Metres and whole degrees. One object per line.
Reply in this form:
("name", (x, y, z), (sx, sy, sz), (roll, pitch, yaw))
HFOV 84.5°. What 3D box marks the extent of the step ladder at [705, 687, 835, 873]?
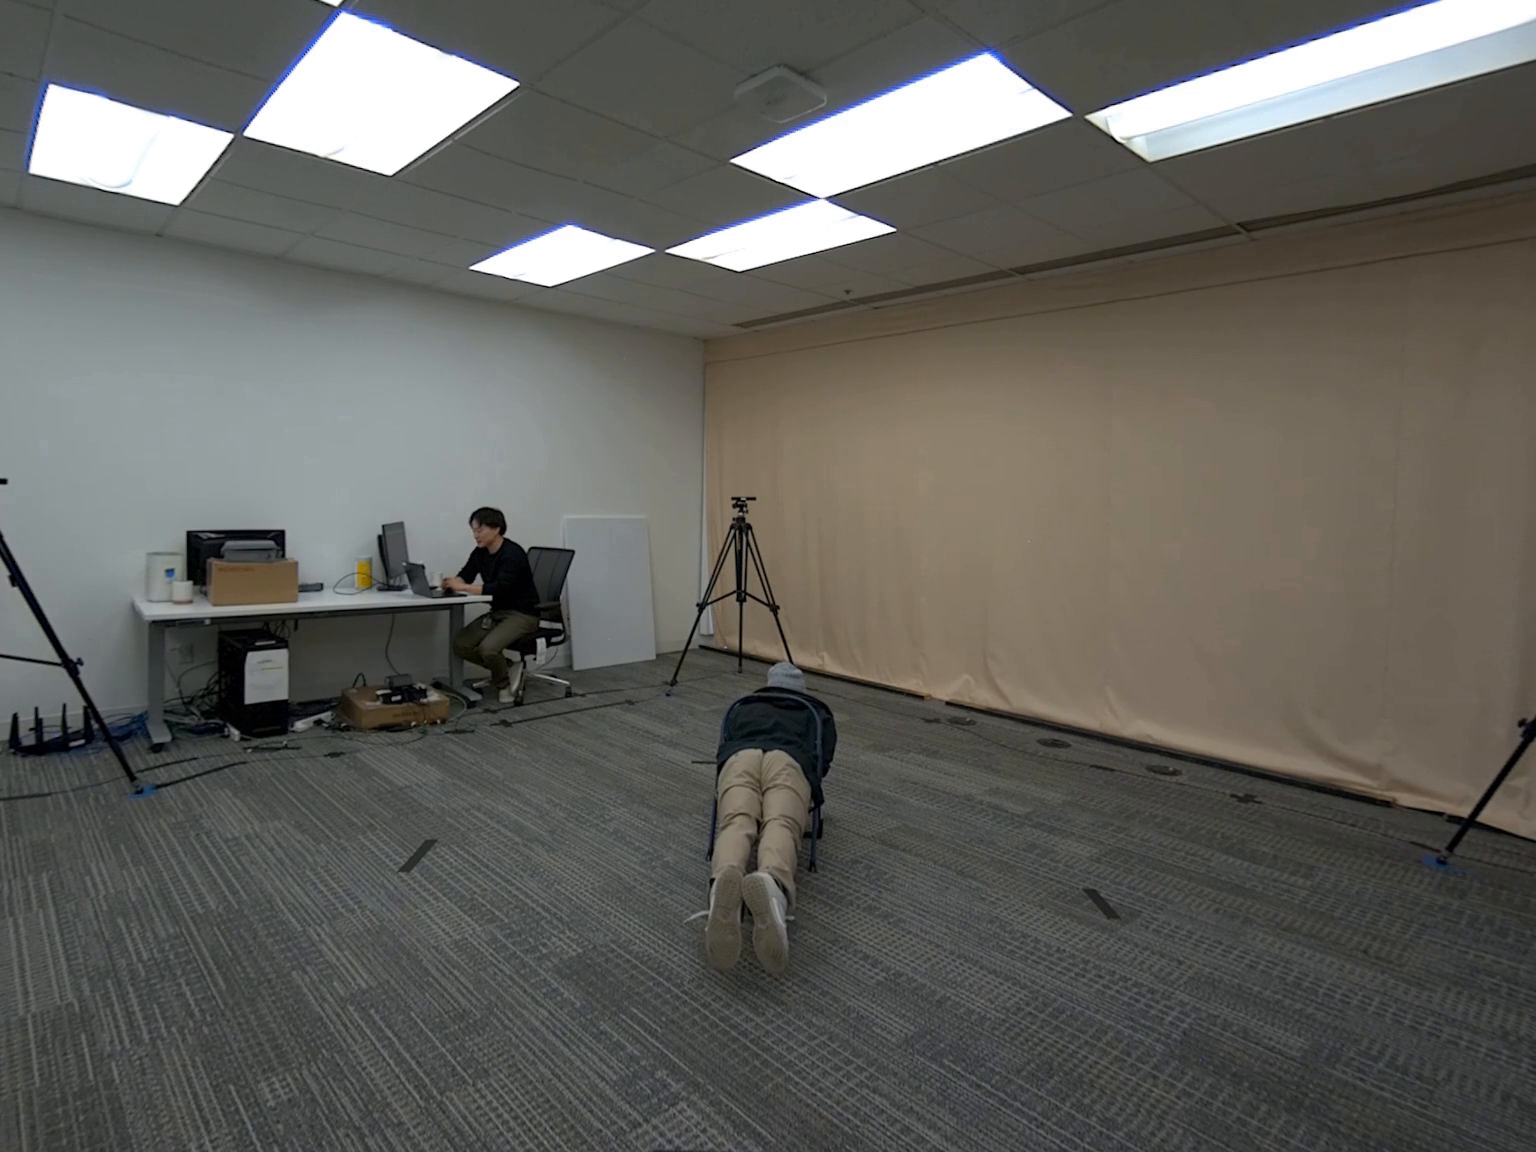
("step ladder", (-0.005, 0.790, 3.352), (0.434, 0.605, 0.347), (2, 2, 9))
